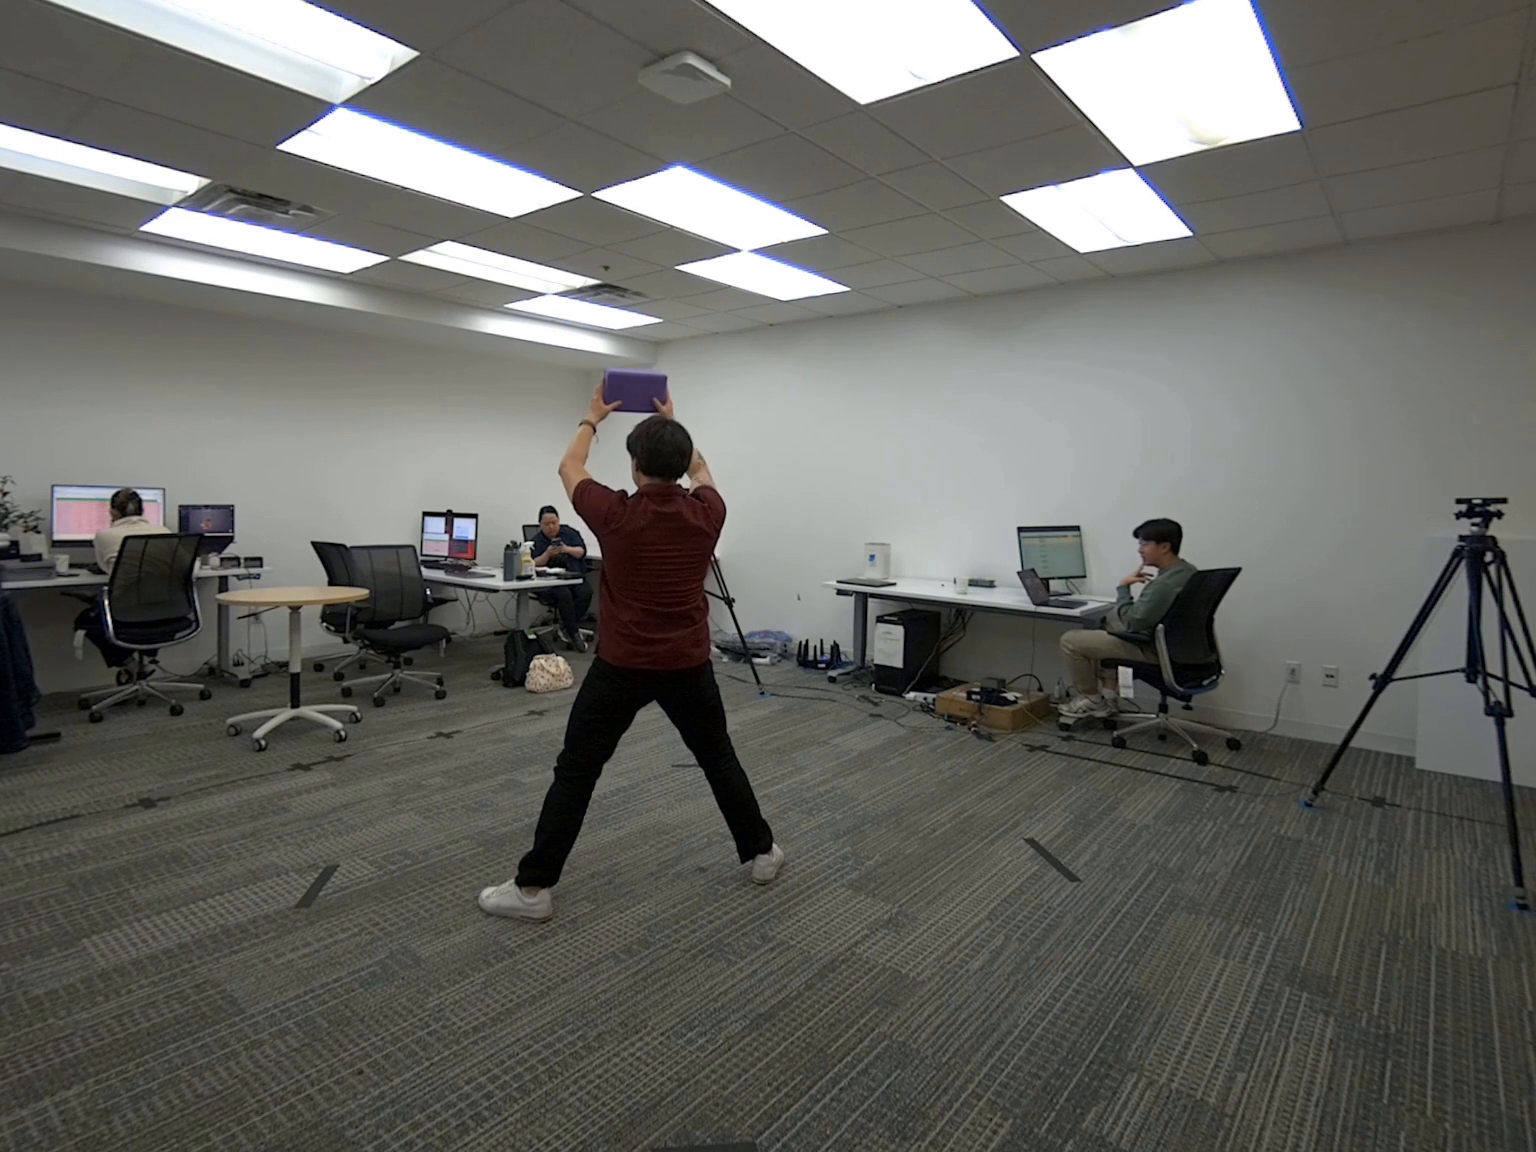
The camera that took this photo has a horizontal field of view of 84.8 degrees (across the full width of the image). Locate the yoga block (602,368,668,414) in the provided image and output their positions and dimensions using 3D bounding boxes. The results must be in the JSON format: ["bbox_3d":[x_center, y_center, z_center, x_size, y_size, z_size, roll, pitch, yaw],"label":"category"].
[{"bbox_3d":[-0.503,-0.673,3.107,0.223,0.147,0.079,-1,24,-27],"label":"yoga block"}]
